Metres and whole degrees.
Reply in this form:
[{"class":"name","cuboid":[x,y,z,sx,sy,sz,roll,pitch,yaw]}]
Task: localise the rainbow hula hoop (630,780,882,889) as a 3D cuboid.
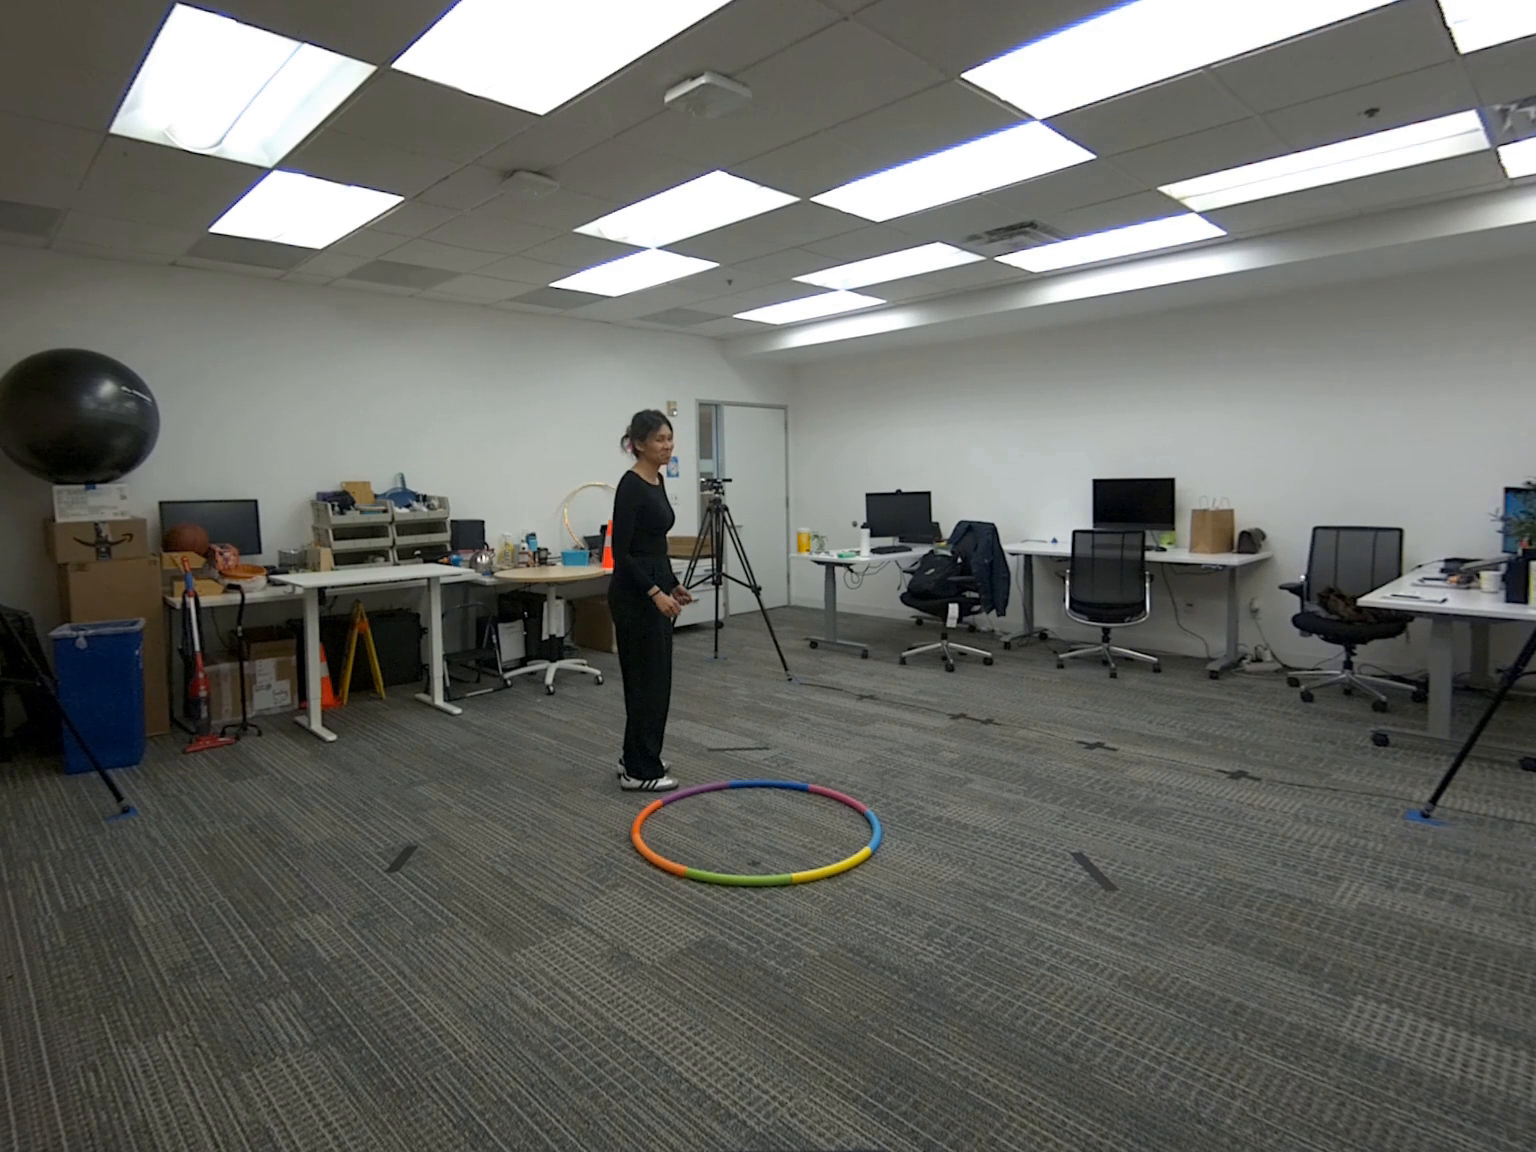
[{"class":"rainbow hula hoop","cuboid":[-0.046,0.983,3.401,0.978,0.035,0.984,-1,7,-2]}]
